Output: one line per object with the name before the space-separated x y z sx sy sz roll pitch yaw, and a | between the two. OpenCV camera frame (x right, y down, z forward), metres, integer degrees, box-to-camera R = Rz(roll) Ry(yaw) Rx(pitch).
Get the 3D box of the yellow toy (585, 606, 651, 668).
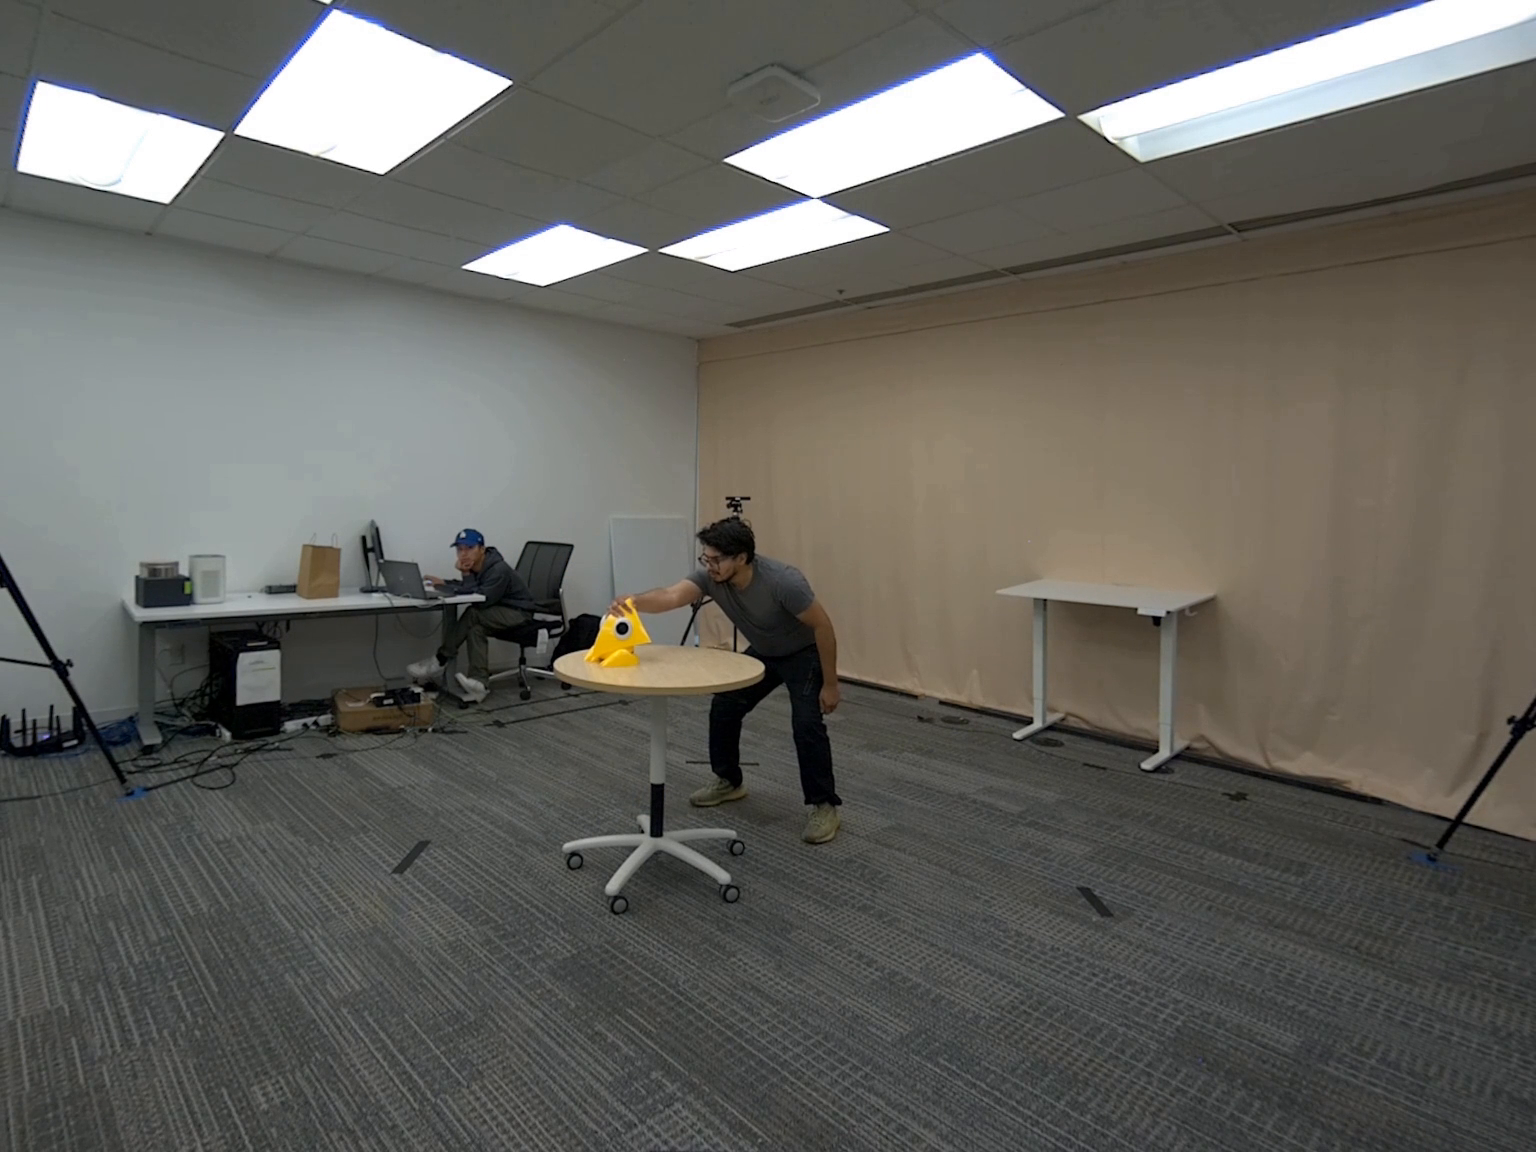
yellow toy | -0.564 0.201 3.090 0.189 0.230 0.210 -3 6 -42
